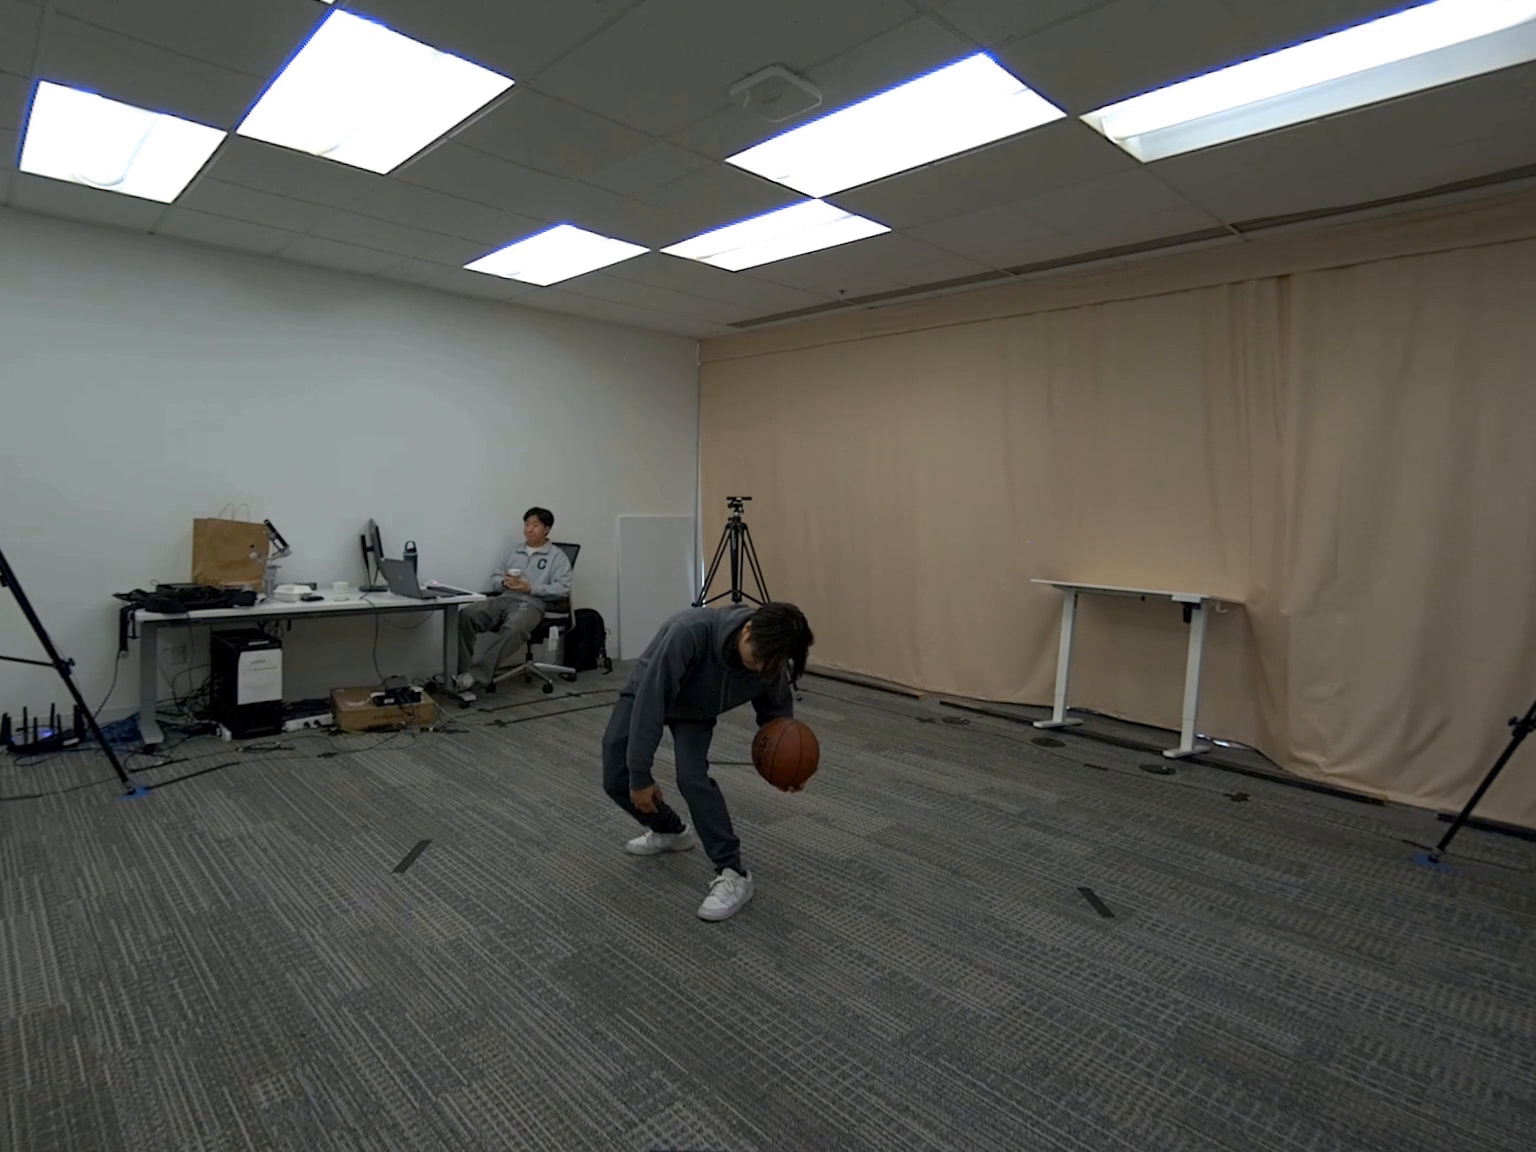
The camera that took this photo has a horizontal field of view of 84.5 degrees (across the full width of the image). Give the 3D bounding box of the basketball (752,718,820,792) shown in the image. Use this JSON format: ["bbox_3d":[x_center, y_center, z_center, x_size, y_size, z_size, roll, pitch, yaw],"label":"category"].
[{"bbox_3d":[0.050,0.617,2.949,0.236,0.235,0.237,1,4,-1],"label":"basketball"}]
